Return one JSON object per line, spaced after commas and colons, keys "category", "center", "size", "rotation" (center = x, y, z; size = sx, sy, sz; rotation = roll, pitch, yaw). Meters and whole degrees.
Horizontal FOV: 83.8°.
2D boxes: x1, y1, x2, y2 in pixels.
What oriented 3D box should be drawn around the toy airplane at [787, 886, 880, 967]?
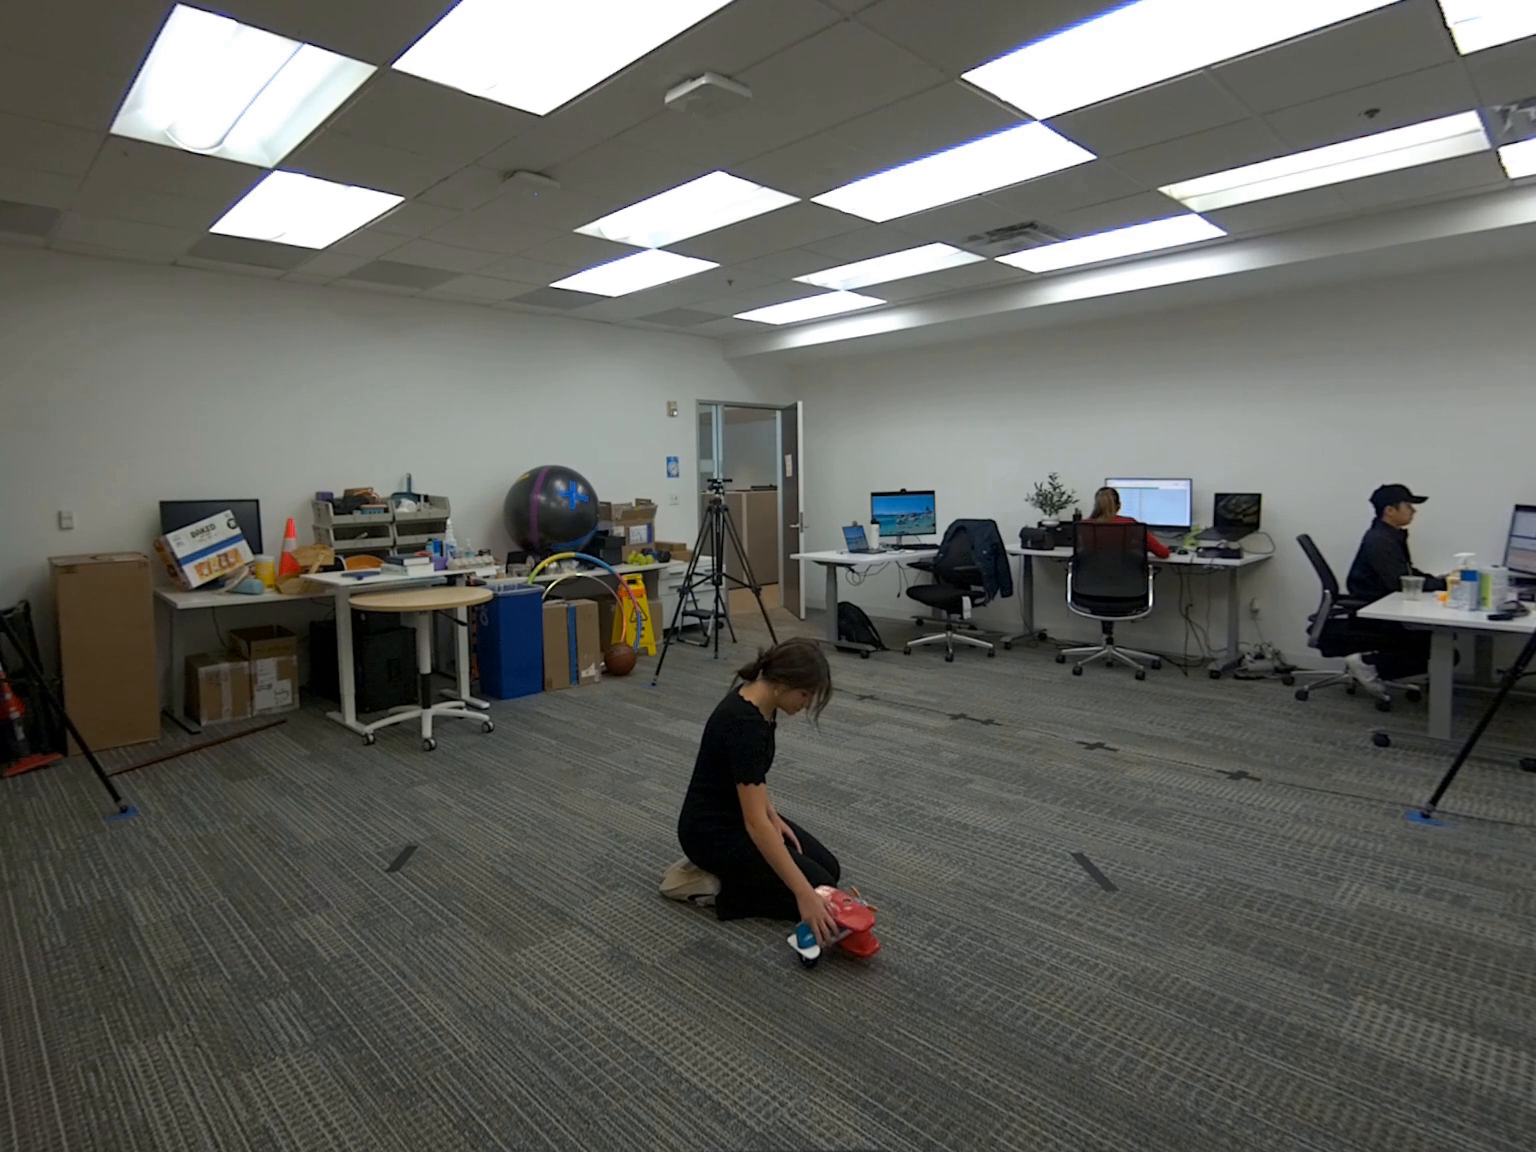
{"category": "toy airplane", "center": [0.215, 1.038, 2.477], "size": [0.258, 0.156, 0.253], "rotation": [4, 6, 29]}
